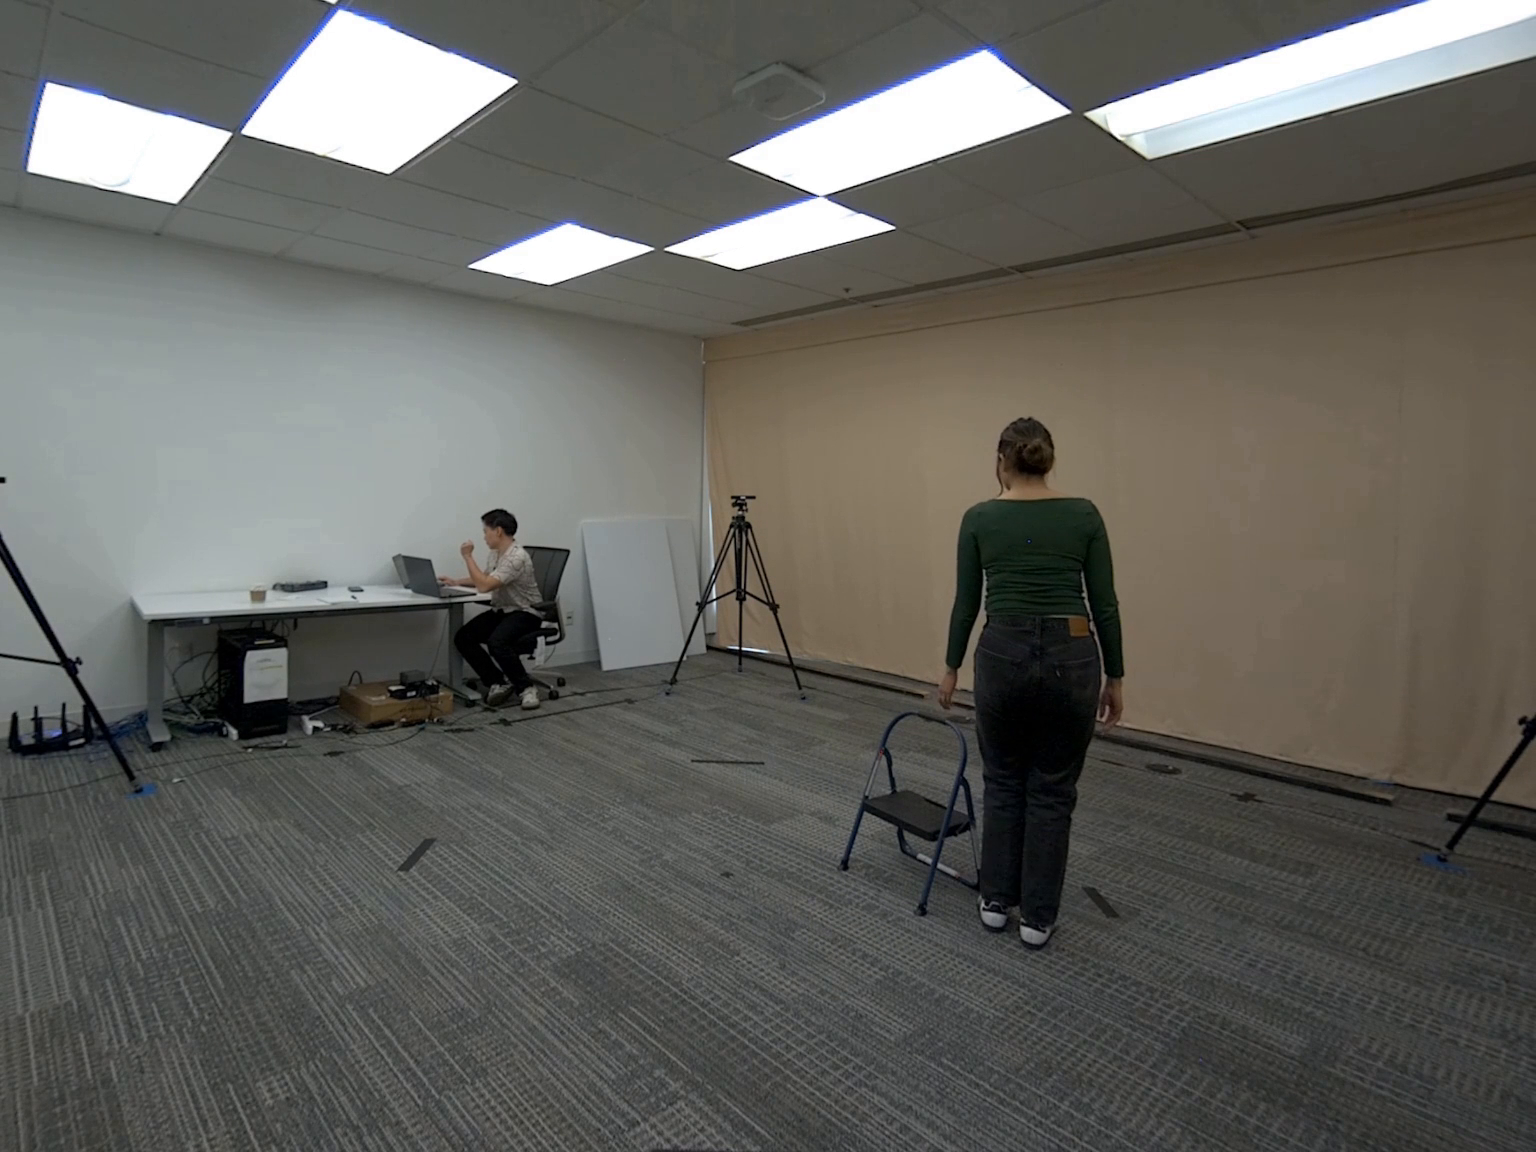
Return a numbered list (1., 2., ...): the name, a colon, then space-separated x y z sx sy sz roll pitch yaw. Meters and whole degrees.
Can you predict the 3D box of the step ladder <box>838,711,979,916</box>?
1. step ladder: 0.528 0.819 3.077 0.342 0.604 0.441 -1 5 -35
